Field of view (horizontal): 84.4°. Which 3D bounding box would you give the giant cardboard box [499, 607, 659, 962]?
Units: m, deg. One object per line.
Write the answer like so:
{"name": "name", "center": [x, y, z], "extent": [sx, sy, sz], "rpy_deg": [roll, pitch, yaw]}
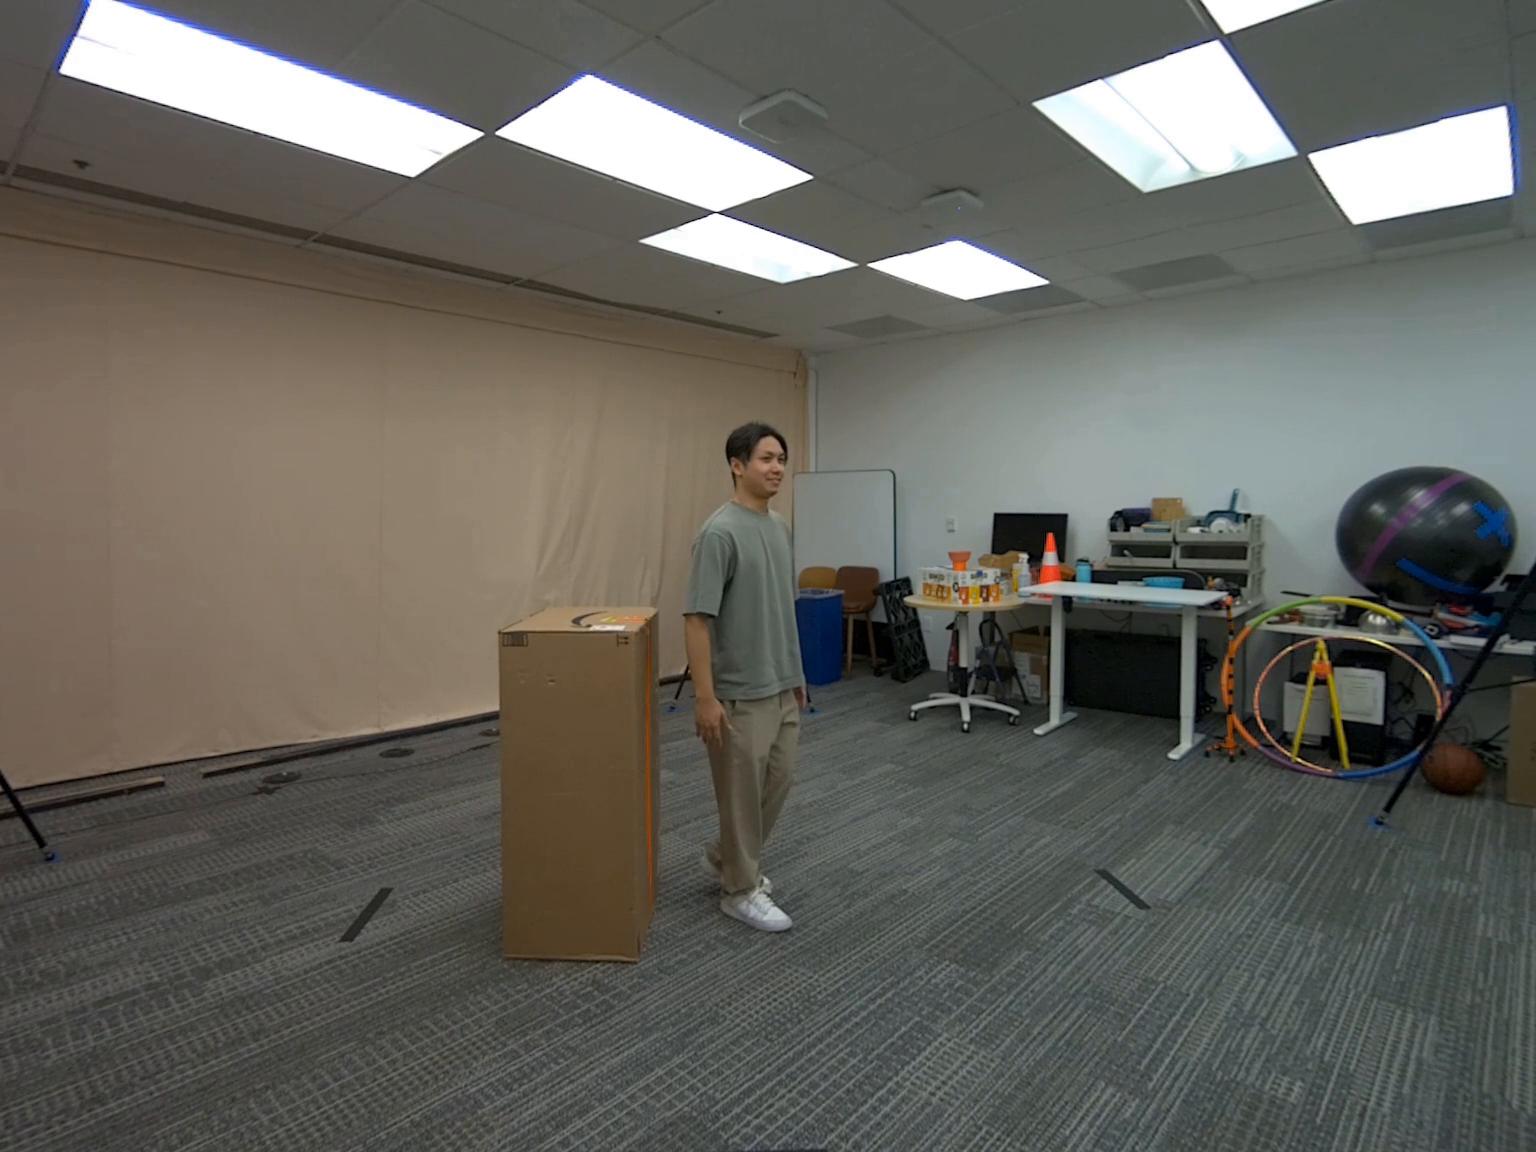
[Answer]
{"name": "giant cardboard box", "center": [-0.609, 0.649, 2.837], "extent": [0.427, 1.024, 0.577], "rpy_deg": [0, 3, 0]}
